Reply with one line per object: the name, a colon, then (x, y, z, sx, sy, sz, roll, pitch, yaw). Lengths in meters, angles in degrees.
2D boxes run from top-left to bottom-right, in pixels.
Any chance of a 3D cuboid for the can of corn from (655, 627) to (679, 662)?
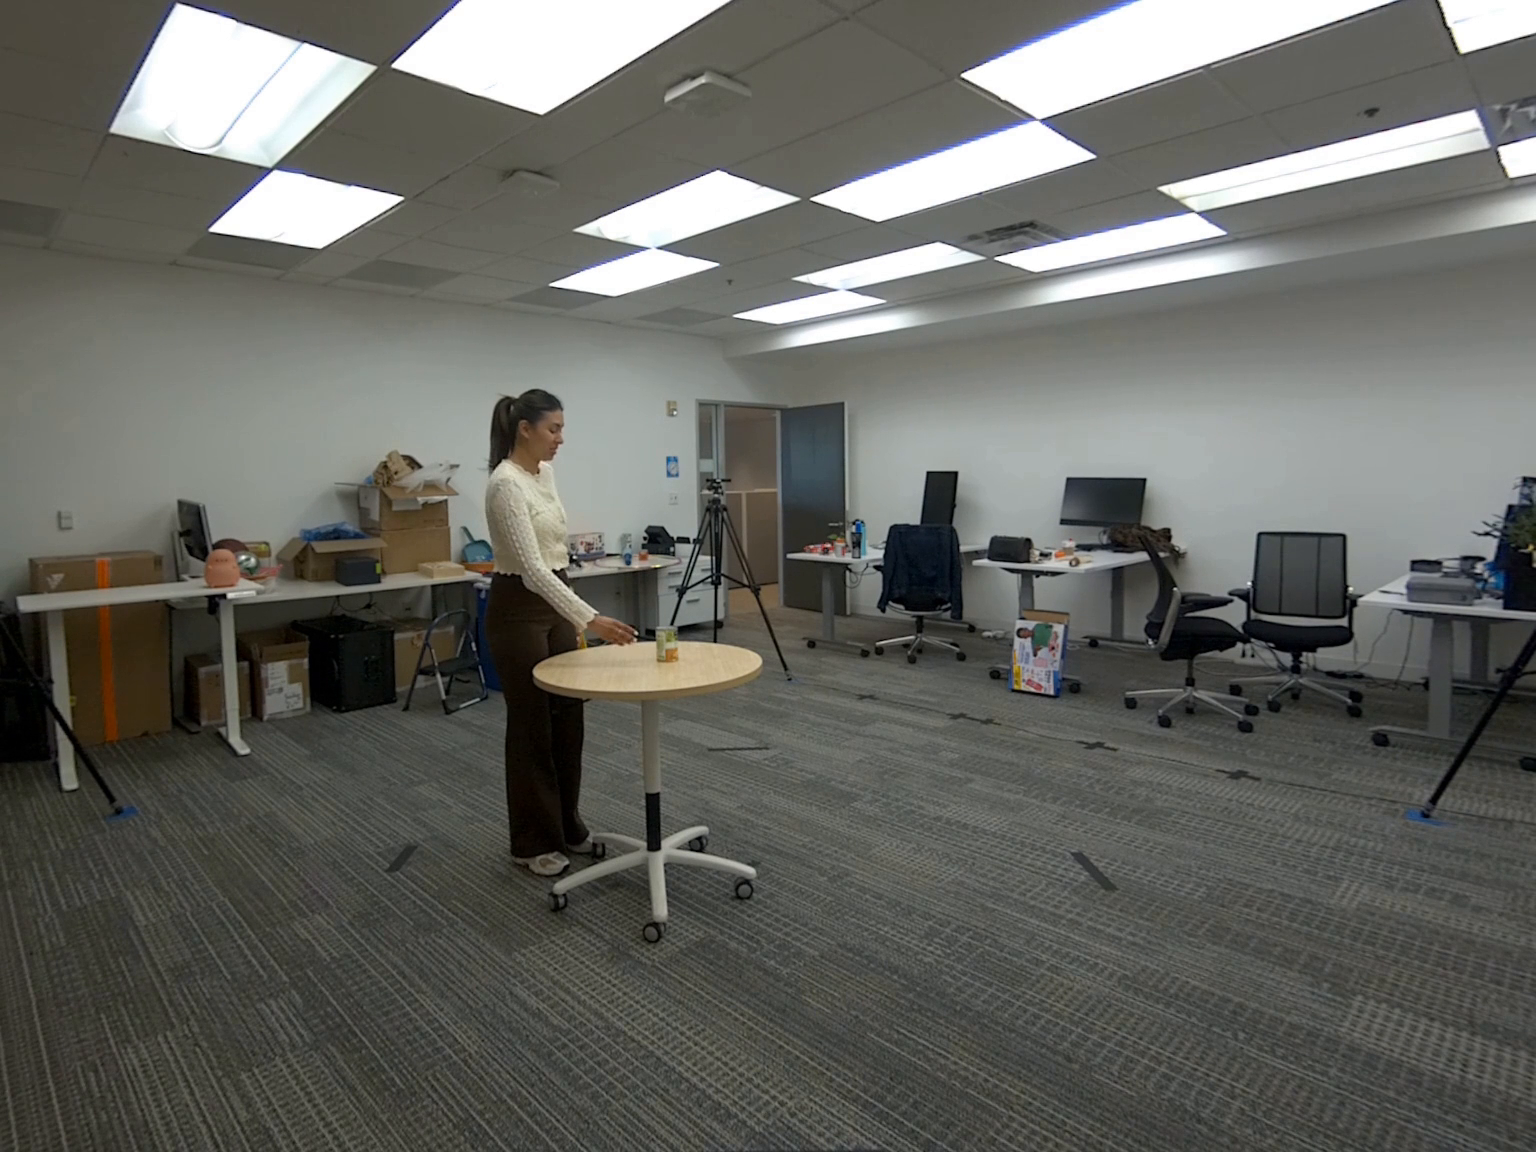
can of corn: (-0.349, 0.231, 2.914, 0.074, 0.111, 0.074, -3, 3, -2)
